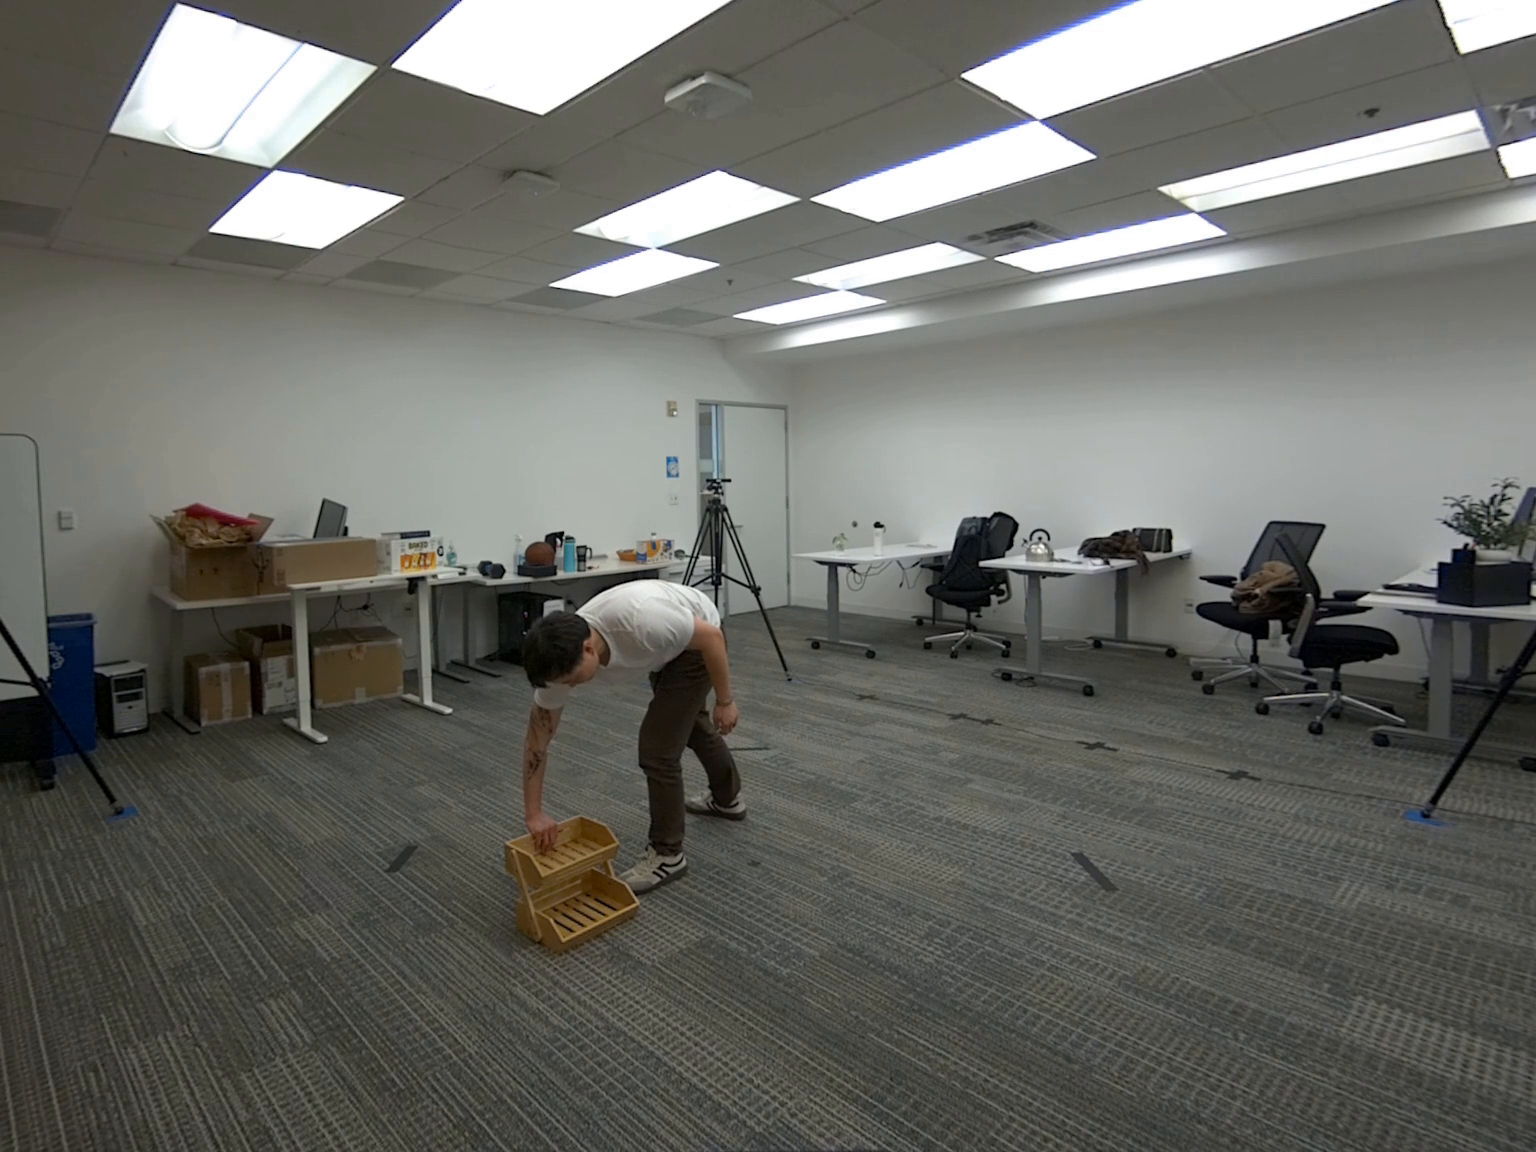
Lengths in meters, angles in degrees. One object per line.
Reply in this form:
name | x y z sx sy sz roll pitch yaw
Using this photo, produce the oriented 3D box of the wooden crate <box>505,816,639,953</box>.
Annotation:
wooden crate | -0.619 0.964 2.723 0.311 0.272 0.316 3 7 42
